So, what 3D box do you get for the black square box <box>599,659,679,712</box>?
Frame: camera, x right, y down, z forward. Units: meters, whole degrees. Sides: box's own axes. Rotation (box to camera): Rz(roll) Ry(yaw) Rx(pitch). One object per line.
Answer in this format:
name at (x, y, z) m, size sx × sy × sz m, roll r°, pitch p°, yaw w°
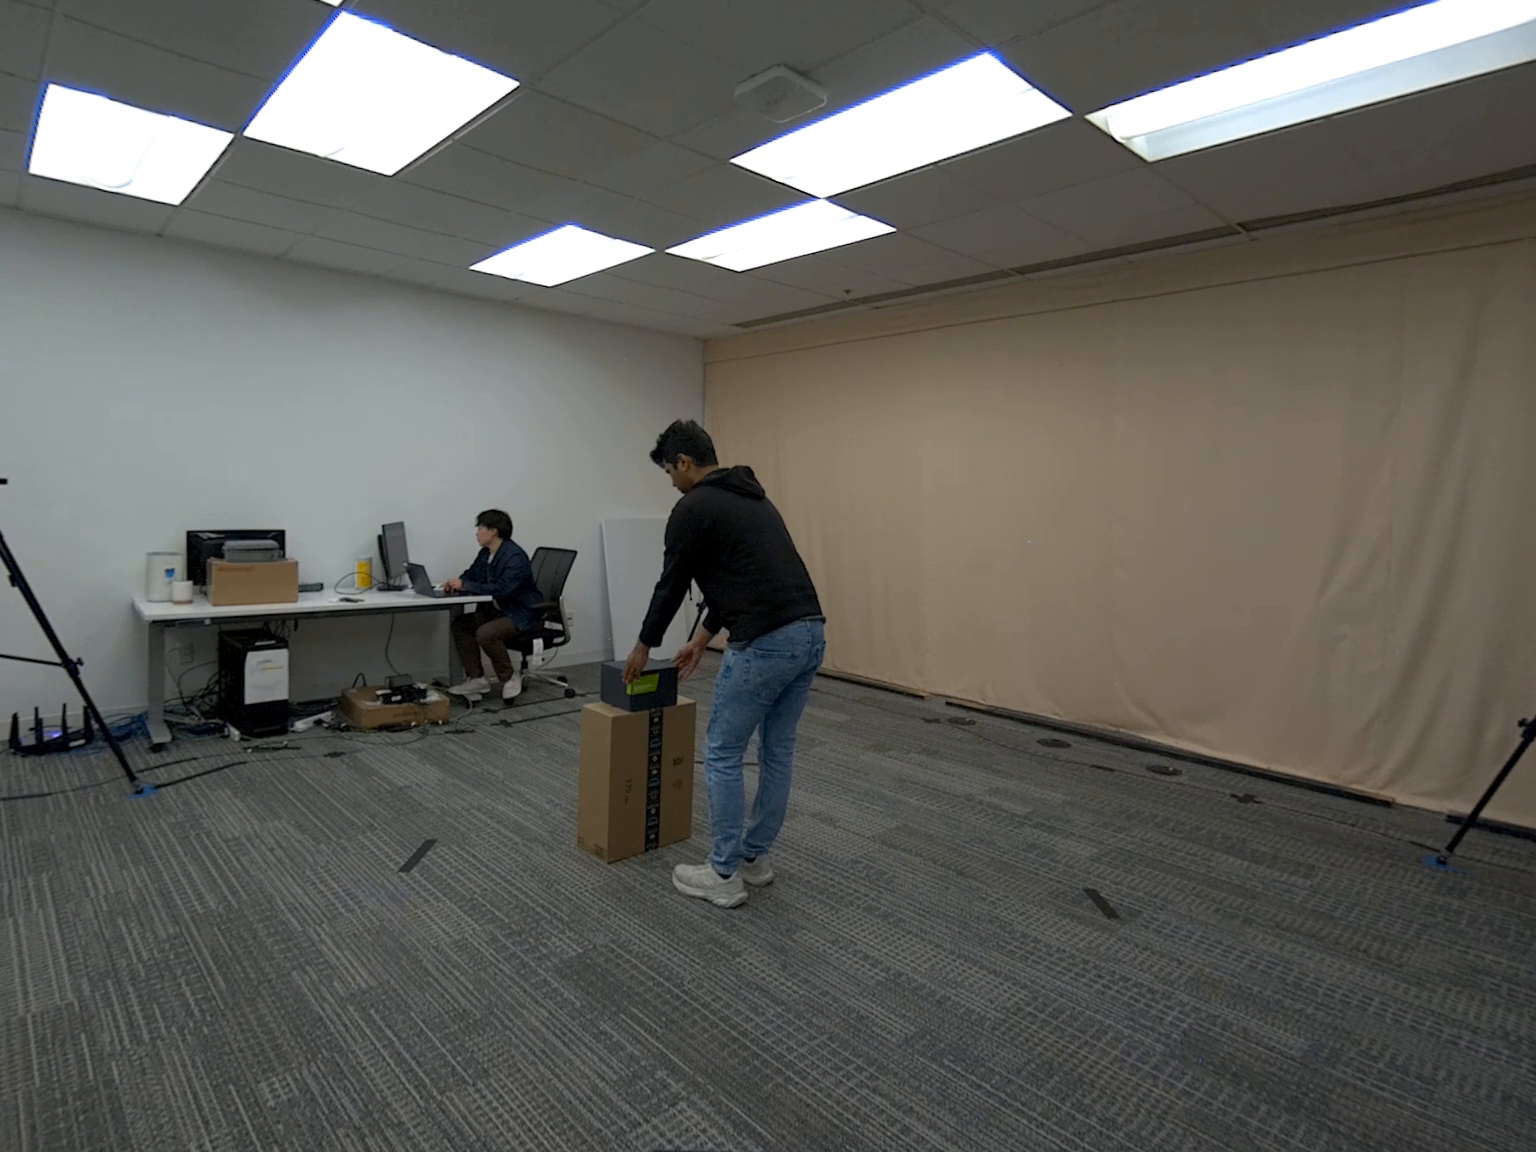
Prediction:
black square box at (-0.522, 0.427, 3.353) m, size 0.223 × 0.155 × 0.222 m, roll -3°, pitch 6°, yaw -44°
